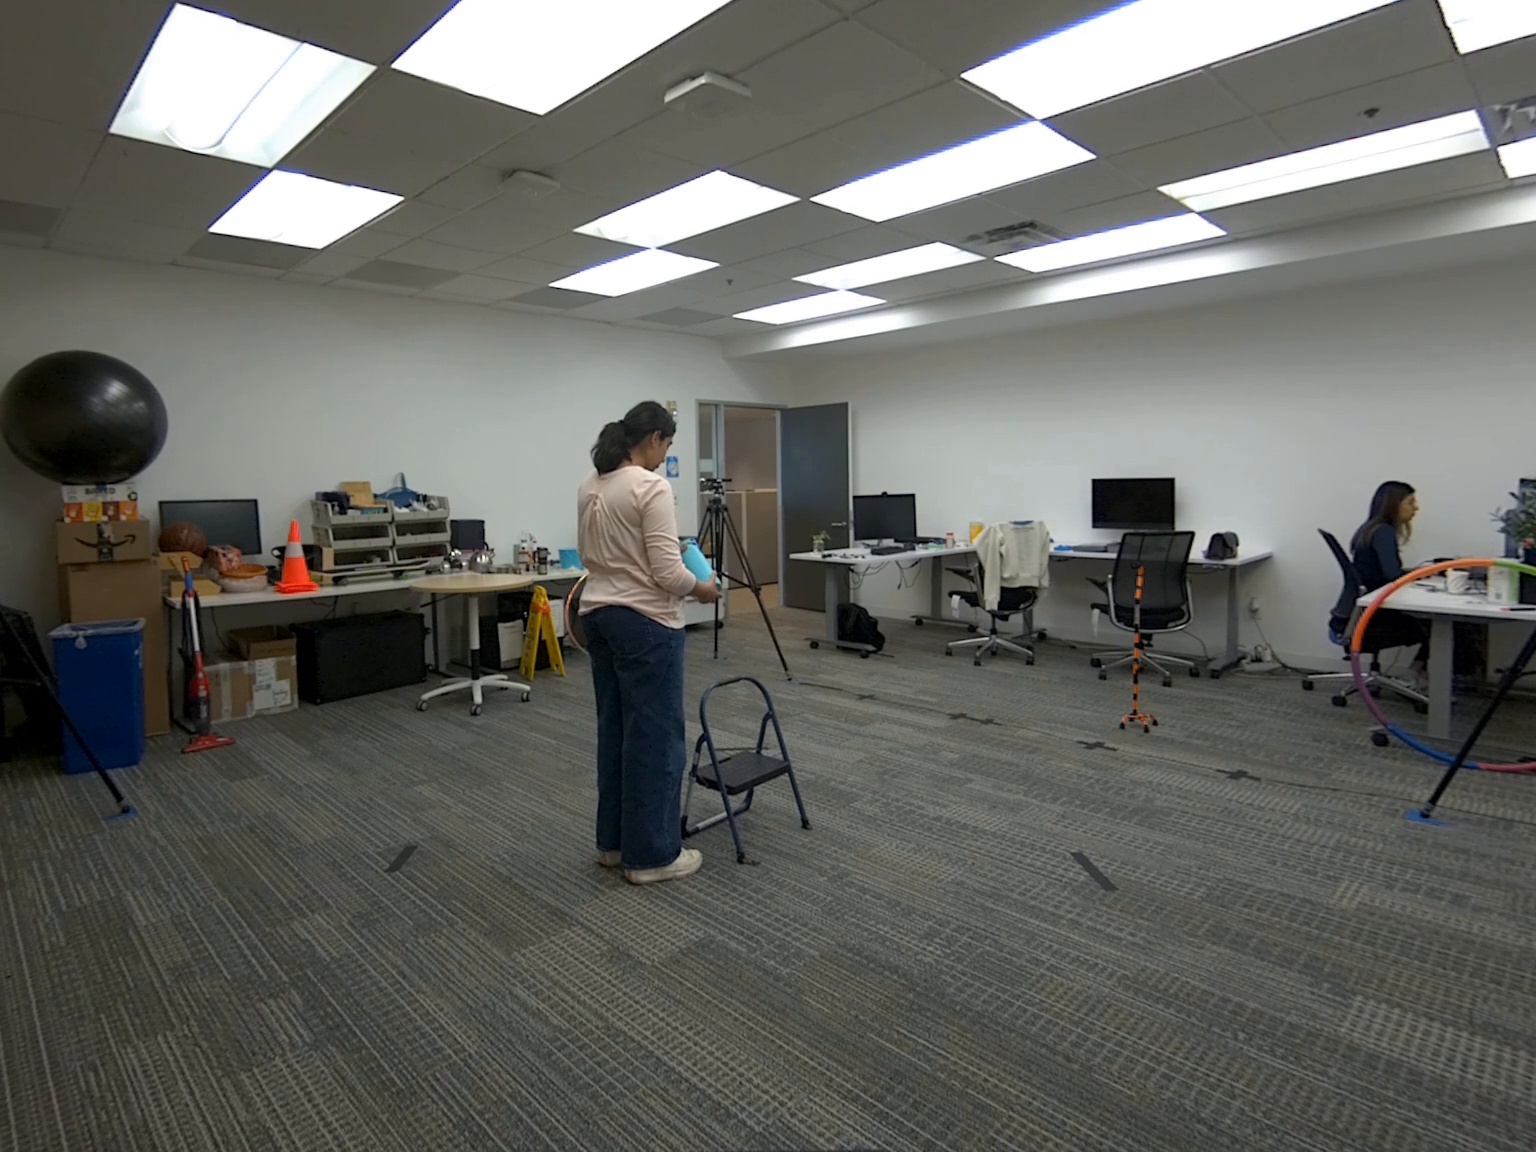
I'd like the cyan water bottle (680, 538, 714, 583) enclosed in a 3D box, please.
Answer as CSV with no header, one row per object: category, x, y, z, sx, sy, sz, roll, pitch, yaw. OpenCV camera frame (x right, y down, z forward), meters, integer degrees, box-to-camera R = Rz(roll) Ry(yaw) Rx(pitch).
cyan water bottle,-0.266,-0.039,3.258,0.090,0.091,0.294,-4,44,-28
